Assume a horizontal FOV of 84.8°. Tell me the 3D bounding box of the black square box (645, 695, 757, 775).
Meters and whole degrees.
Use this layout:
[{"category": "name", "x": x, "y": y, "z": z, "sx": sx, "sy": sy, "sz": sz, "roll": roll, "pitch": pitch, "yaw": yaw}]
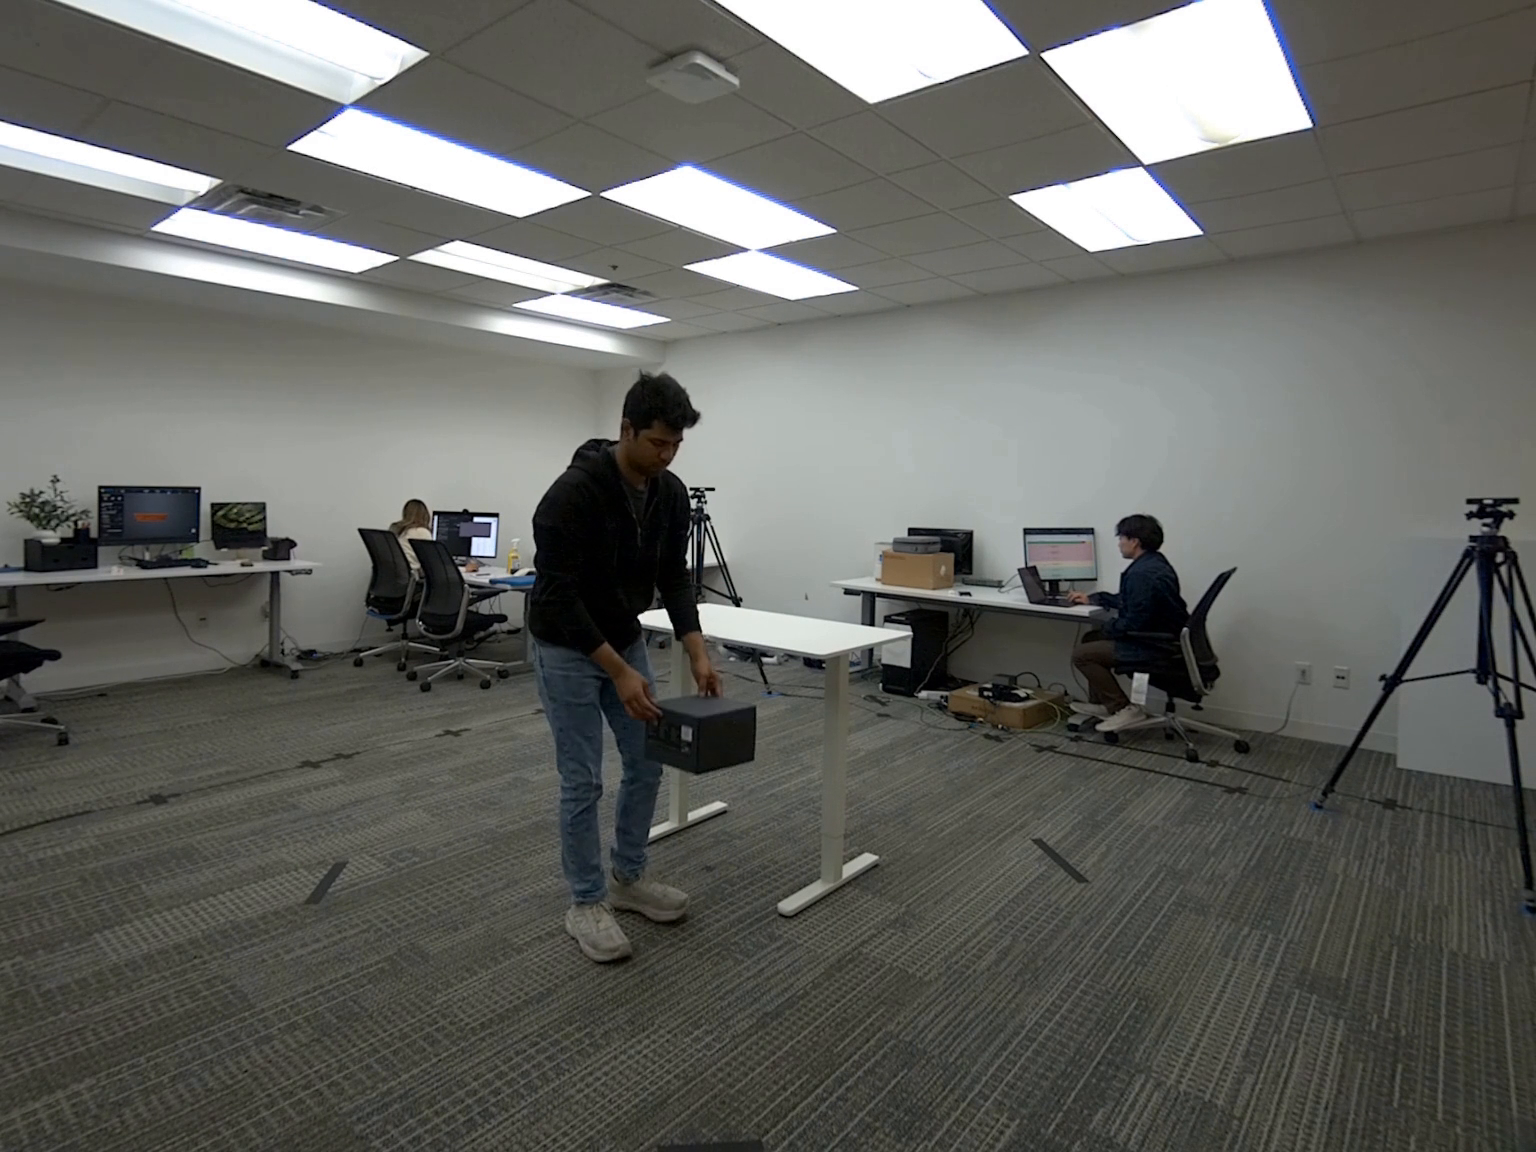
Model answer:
[{"category": "black square box", "x": -0.195, "y": 0.444, "z": 2.376, "sx": 0.224, "sy": 0.156, "sz": 0.221, "roll": 4, "pitch": 4, "yaw": 43}]
